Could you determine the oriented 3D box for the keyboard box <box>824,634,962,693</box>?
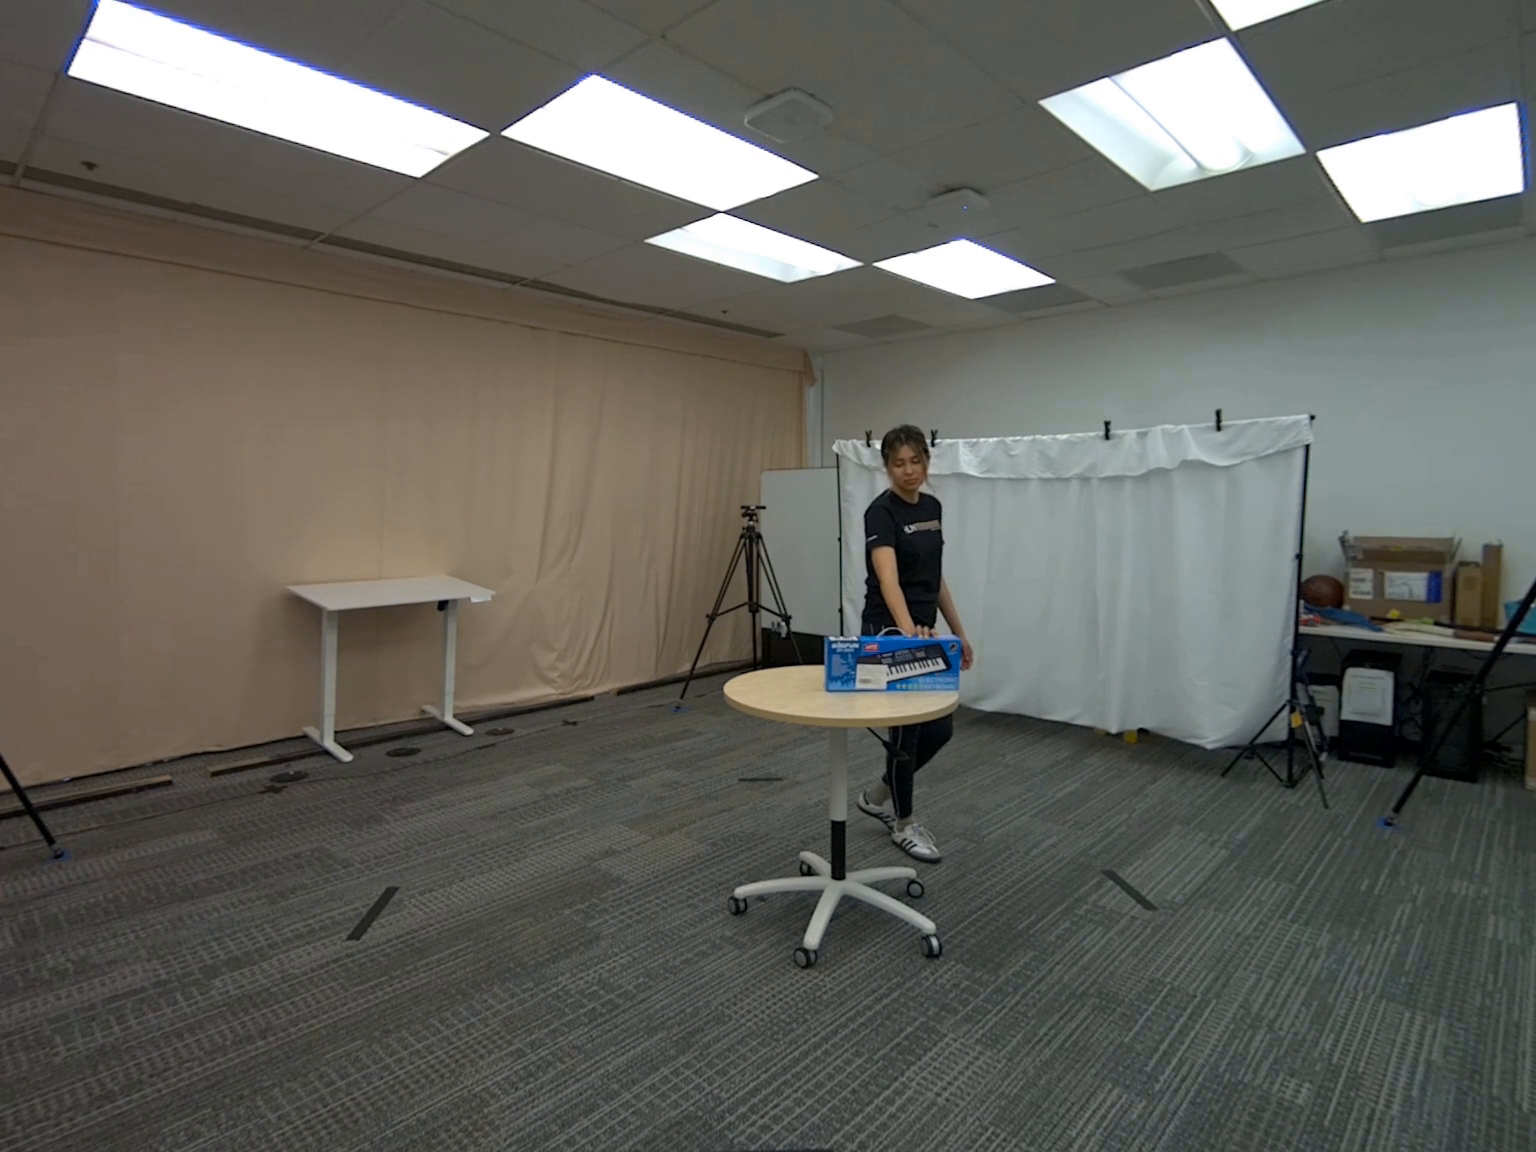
[{"bbox_3d":[0.412,0.293,2.766,0.436,0.175,0.059,0,7,-2],"label":"keyboard box"}]
